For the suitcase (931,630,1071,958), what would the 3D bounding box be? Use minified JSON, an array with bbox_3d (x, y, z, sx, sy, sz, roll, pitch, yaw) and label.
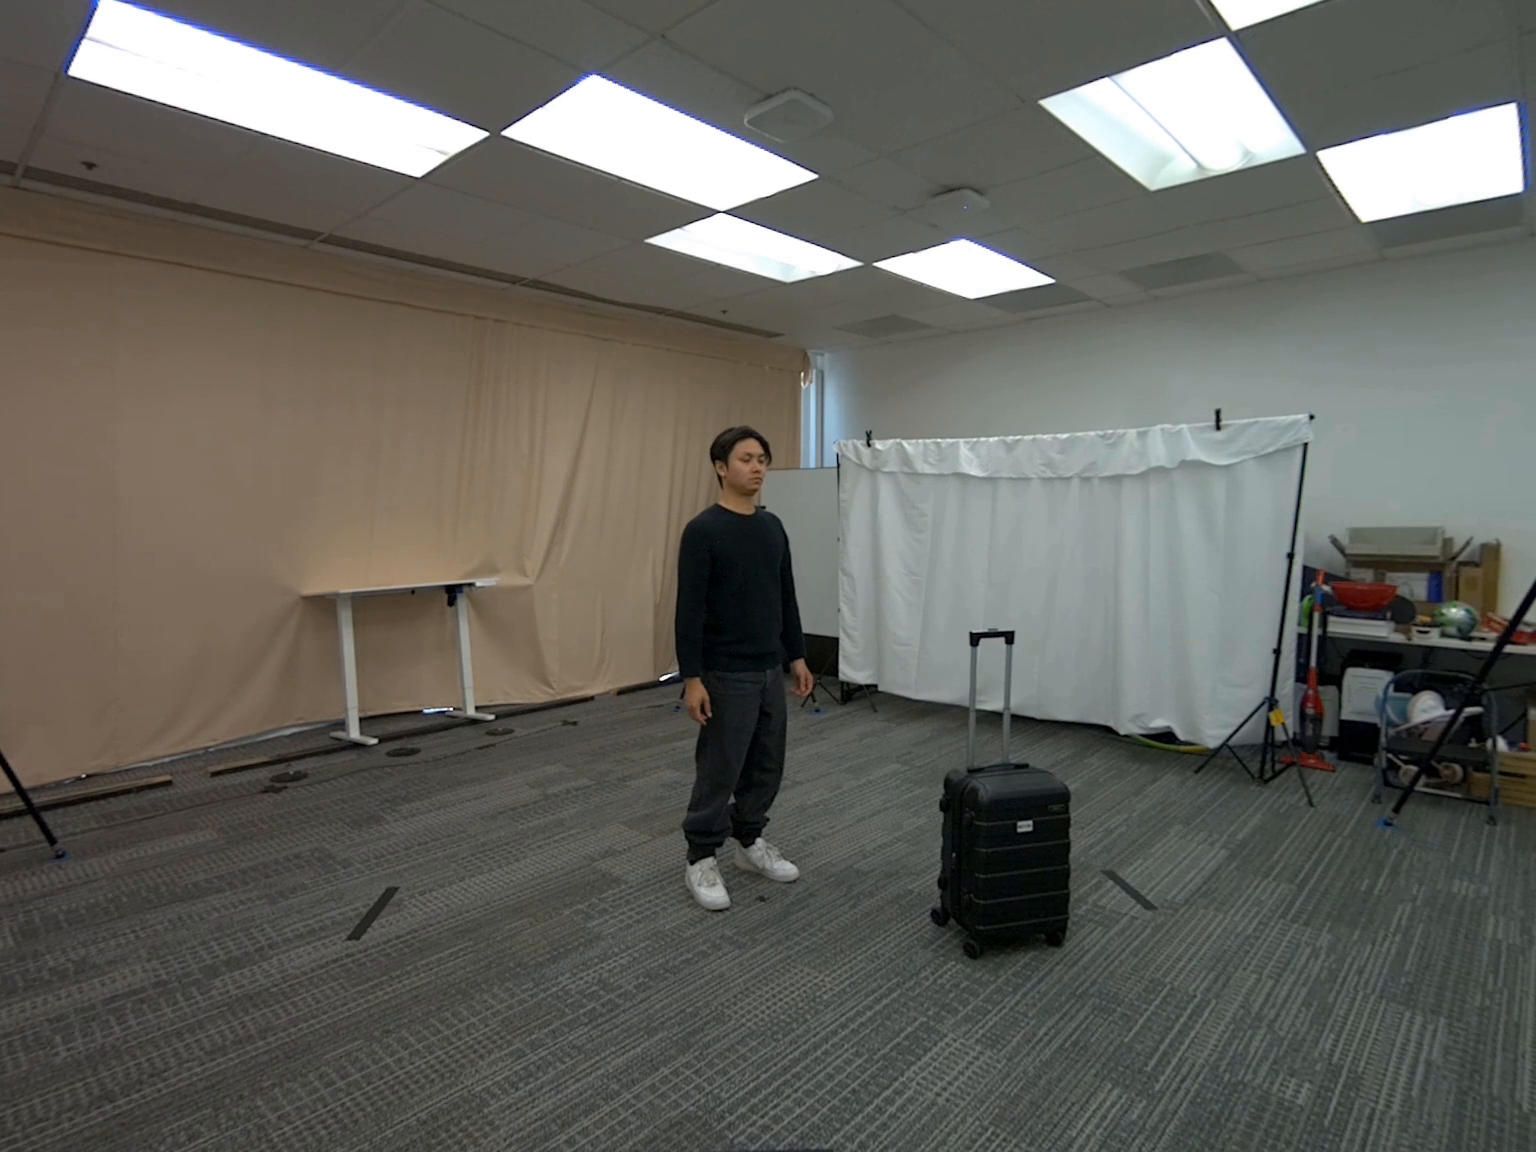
[{"bbox_3d":[0.777,0.694,2.686,0.378,0.976,0.262,0,5,-14],"label":"suitcase"}]
